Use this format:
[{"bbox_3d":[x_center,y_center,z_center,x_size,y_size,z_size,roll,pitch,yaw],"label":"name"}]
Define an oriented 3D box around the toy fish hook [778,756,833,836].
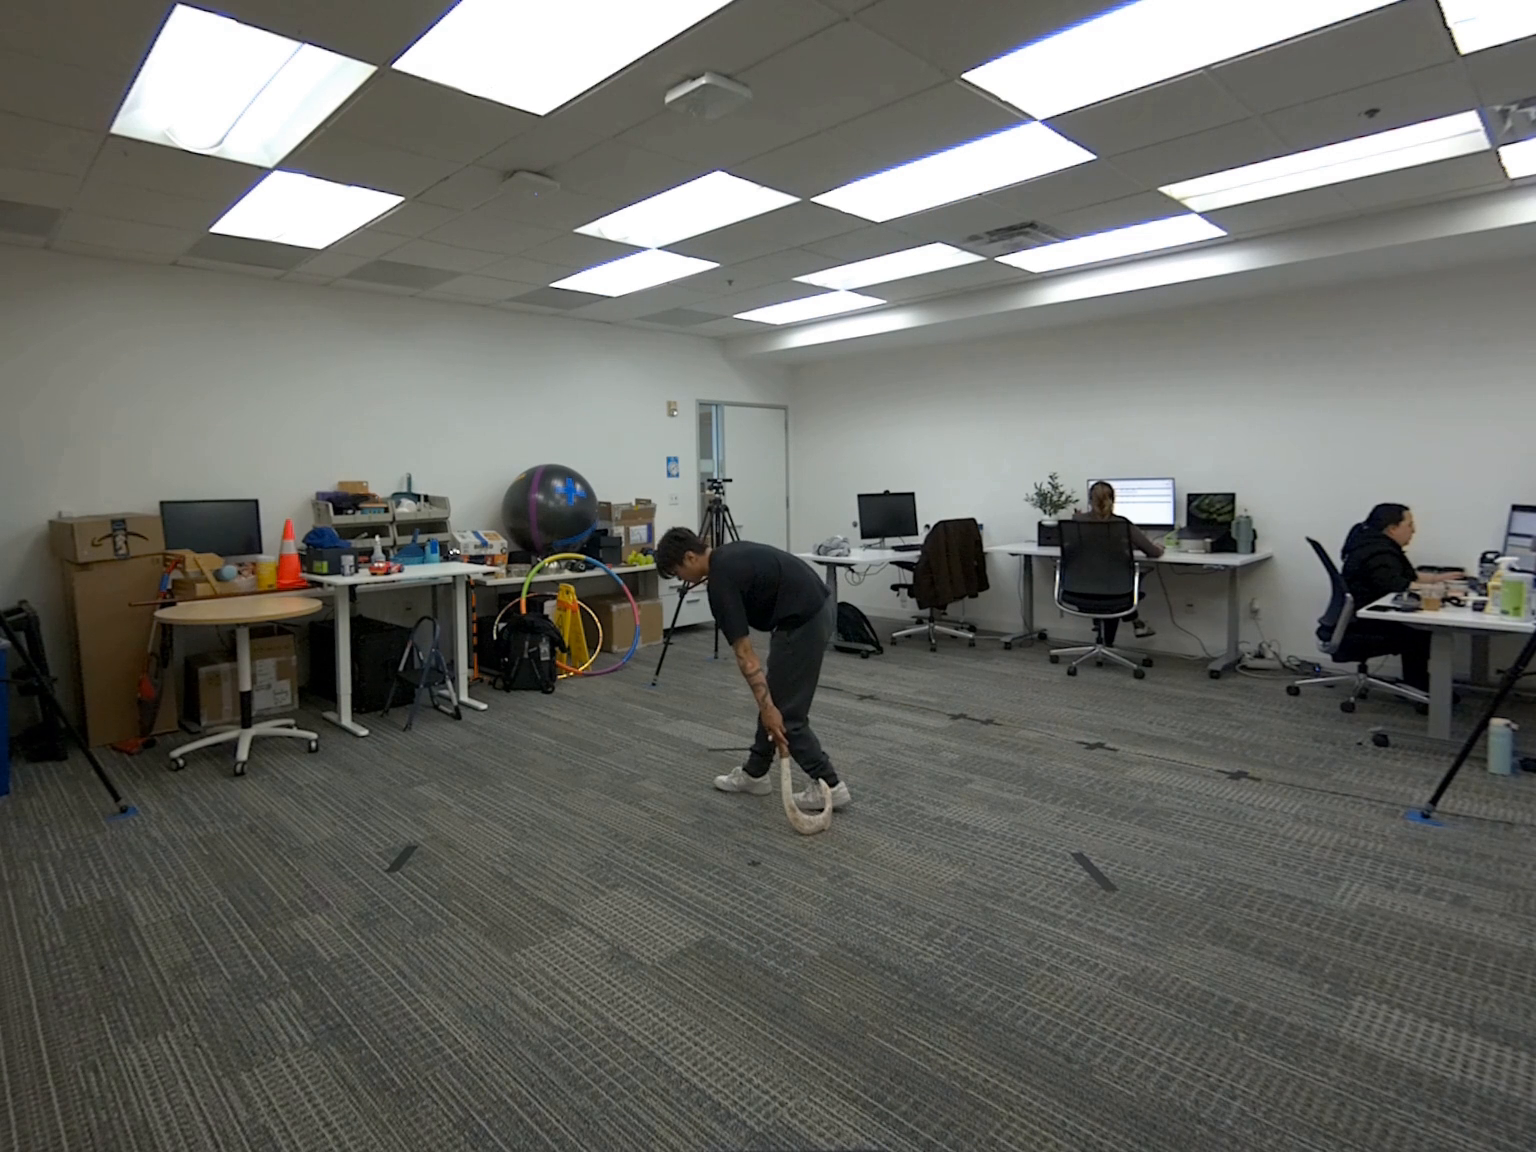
[{"bbox_3d":[0.126,0.791,3.468,0.219,0.519,0.048,-2,-26,-29],"label":"toy fish hook"}]
